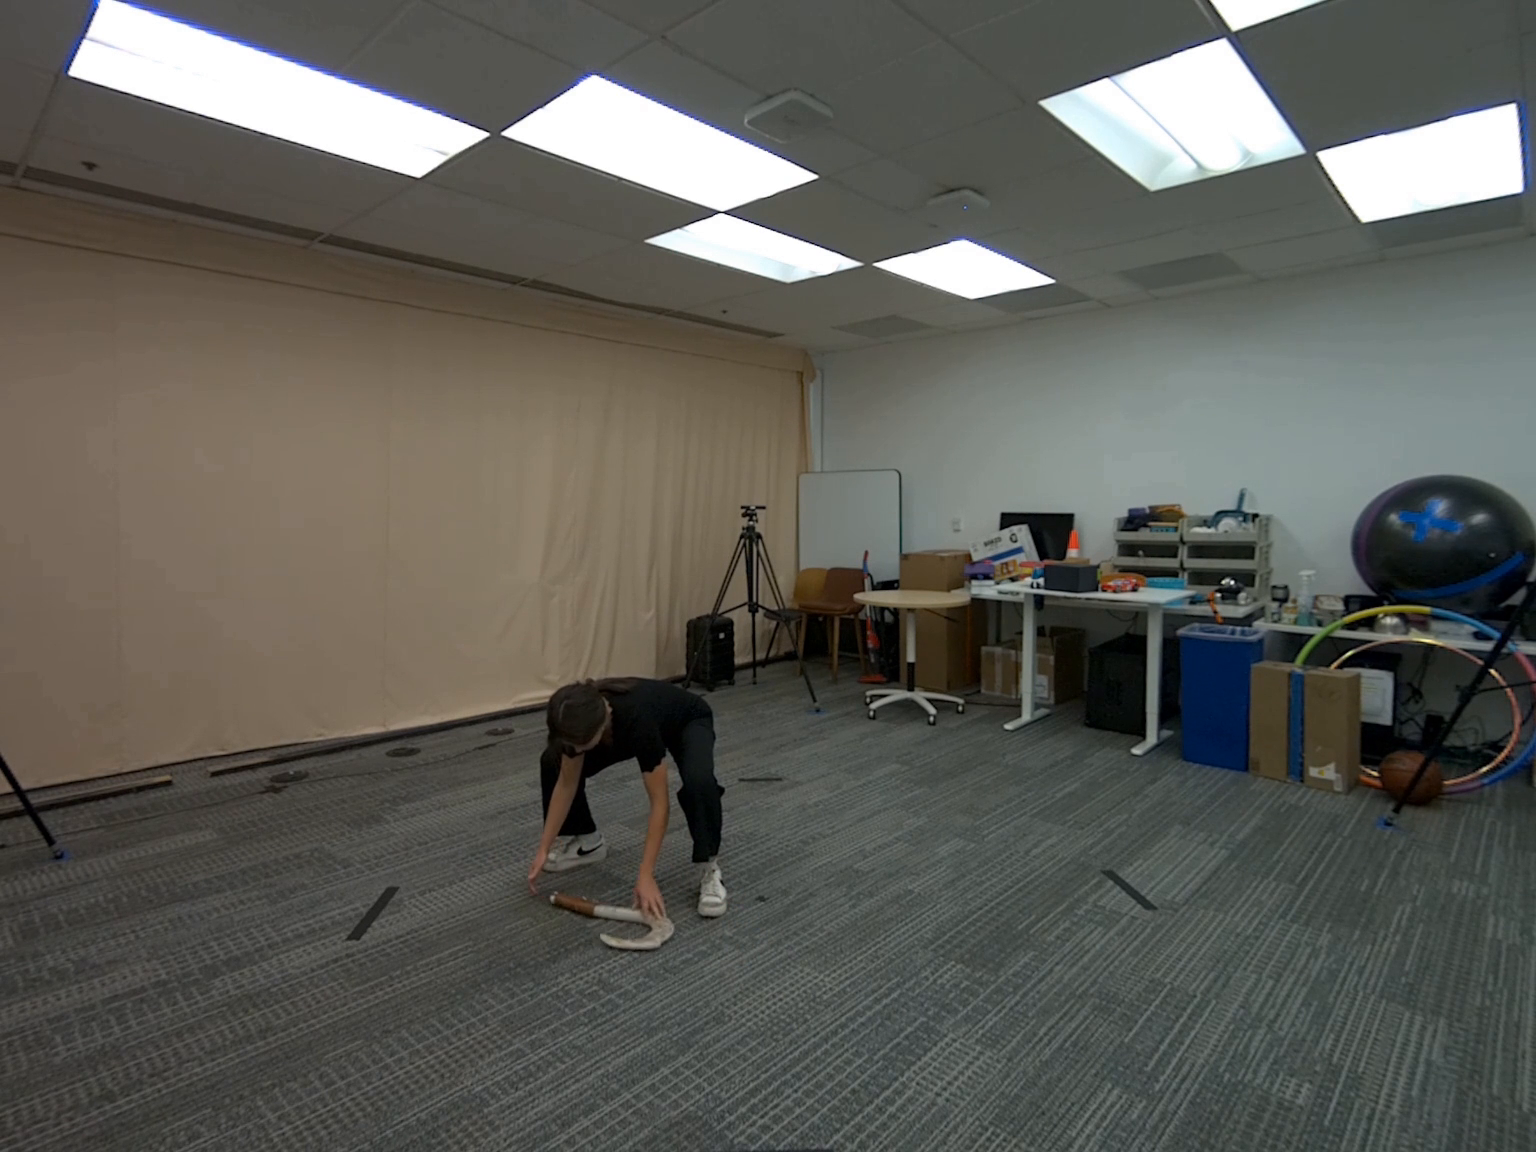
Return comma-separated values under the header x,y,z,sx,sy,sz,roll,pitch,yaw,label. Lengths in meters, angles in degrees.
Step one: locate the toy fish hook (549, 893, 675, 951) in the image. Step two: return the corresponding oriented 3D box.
x,y,z,sx,sy,sz,roll,pitch,yaw,label
-0.549,1.139,2.794,0.520,0.048,0.219,2,1,27,toy fish hook
